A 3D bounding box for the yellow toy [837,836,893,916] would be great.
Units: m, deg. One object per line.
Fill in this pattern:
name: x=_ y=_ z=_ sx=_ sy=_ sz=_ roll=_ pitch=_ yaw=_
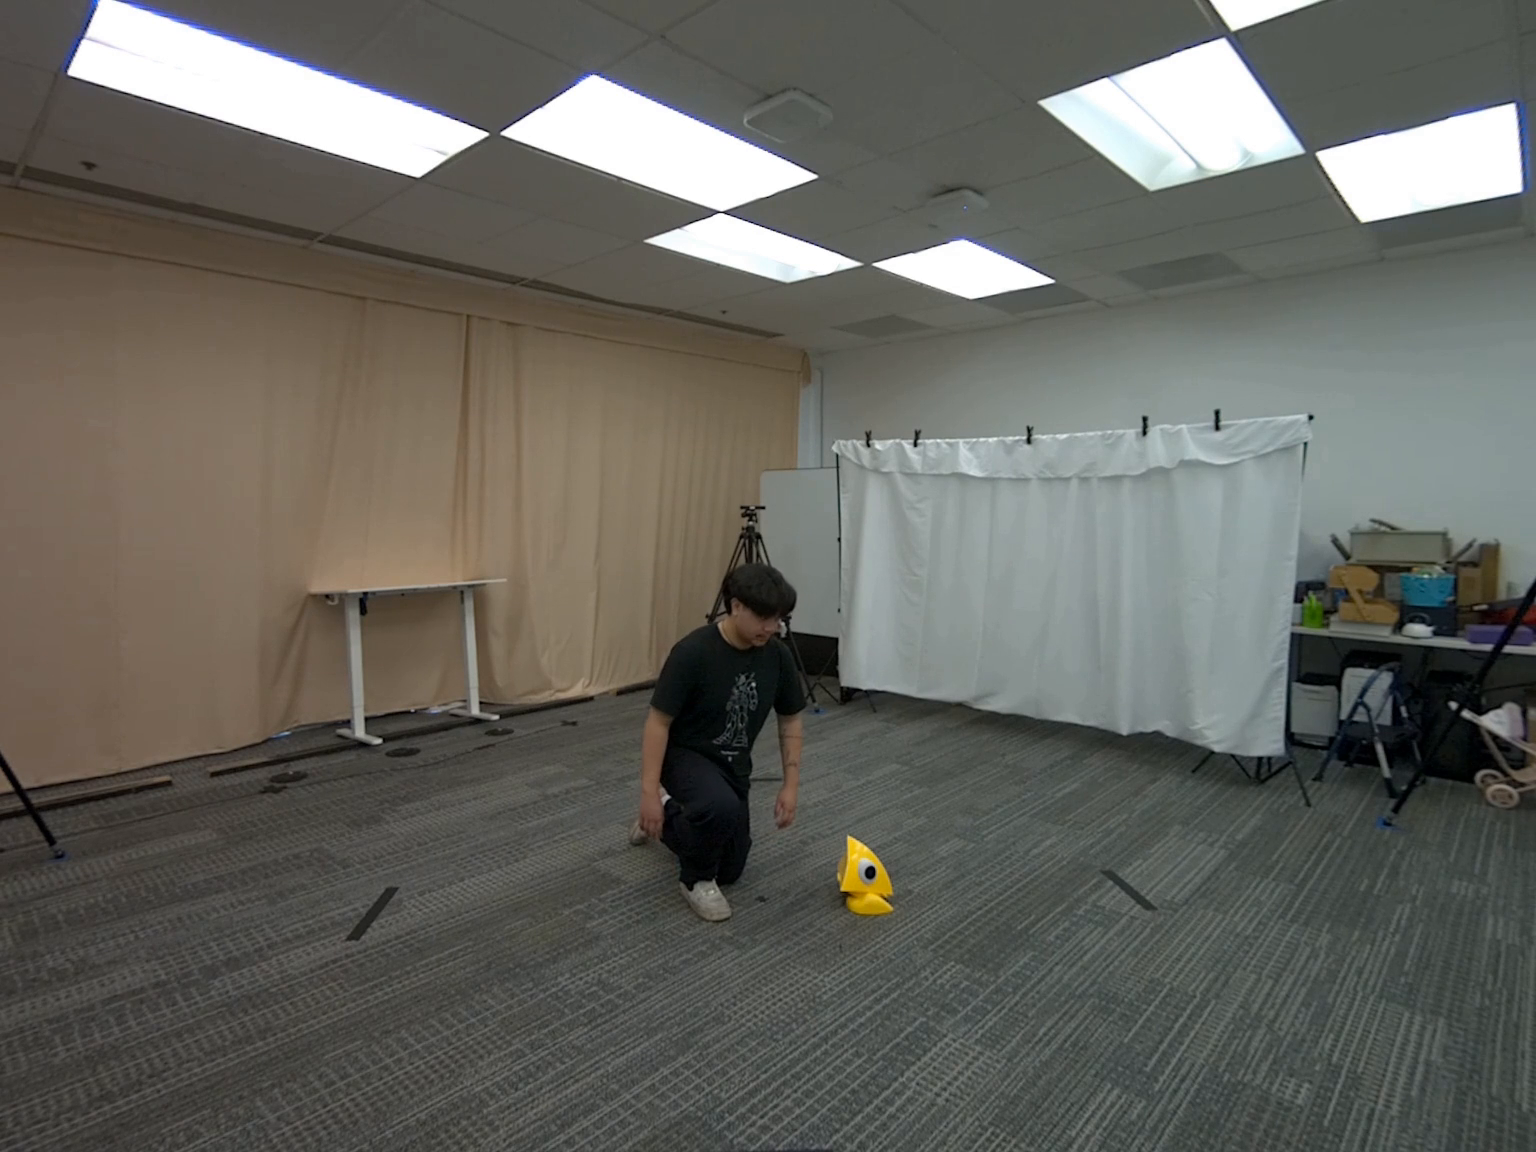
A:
yellow toy: x=0.356 y=1.037 z=2.957 sx=0.194 sy=0.230 sz=0.204 roll=-2 pitch=4 yaw=3
